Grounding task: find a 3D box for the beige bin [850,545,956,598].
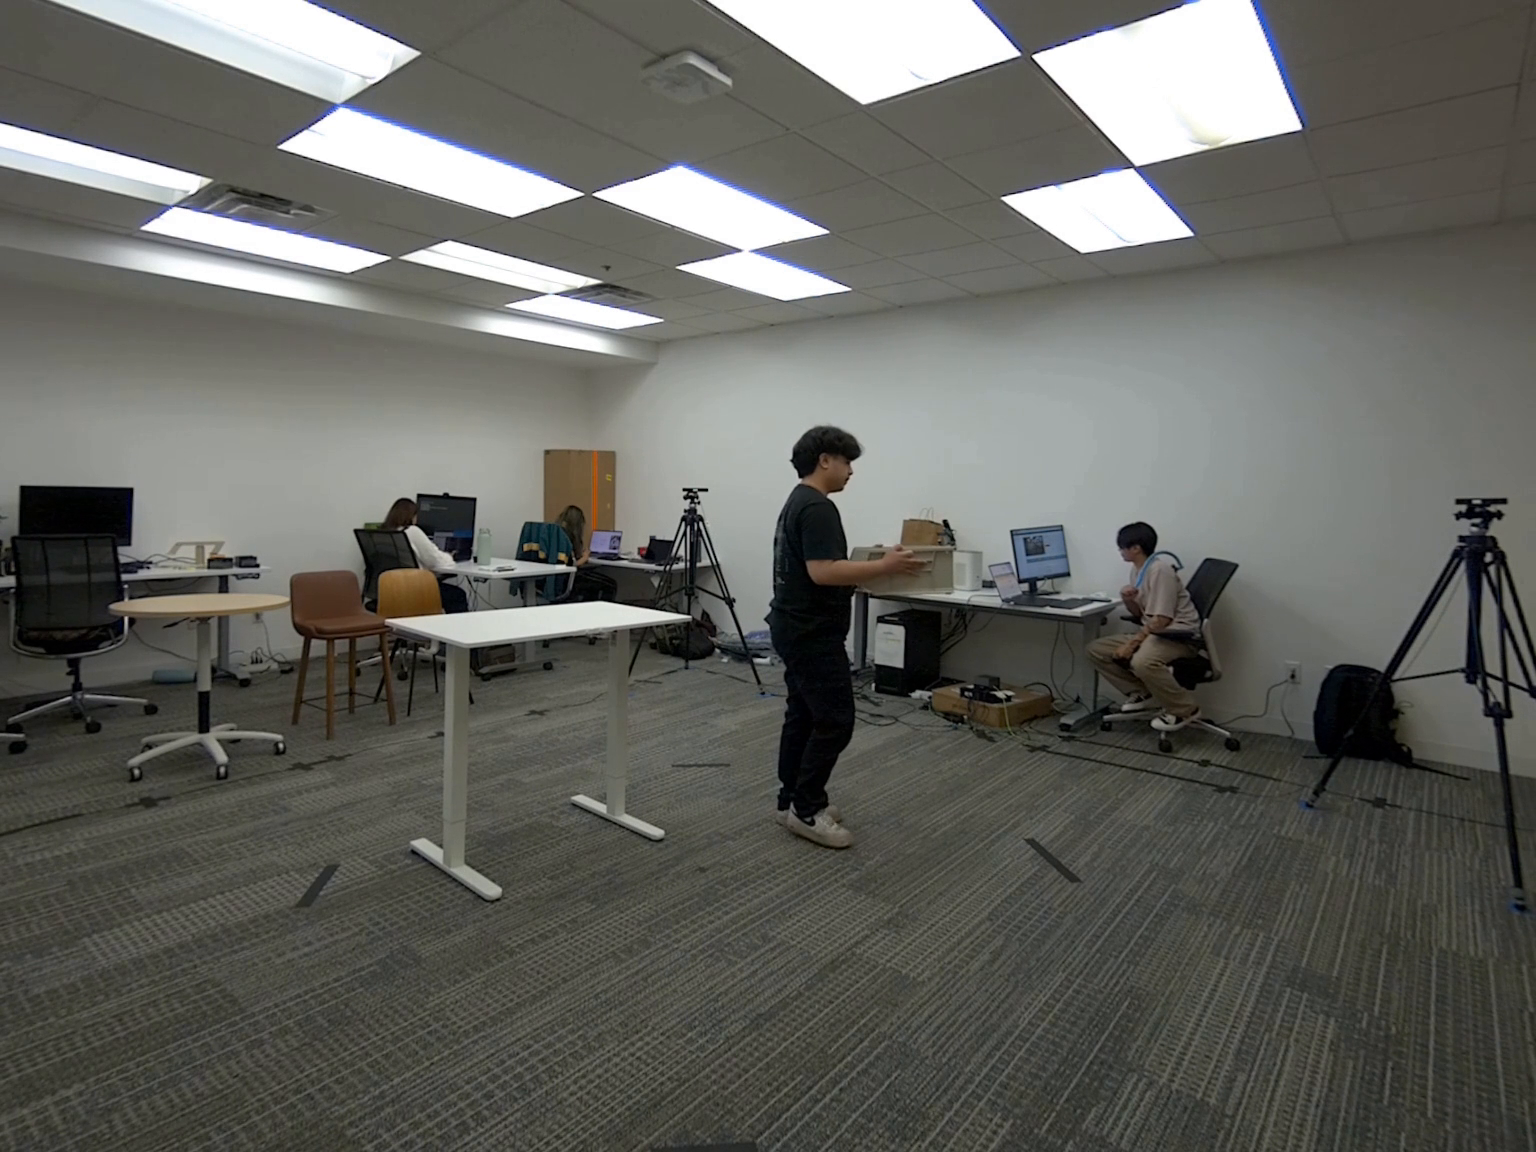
[{"bbox_3d":[0.524,-0.023,3.506,0.377,0.189,0.424,0,2,-3],"label":"beige bin"}]
